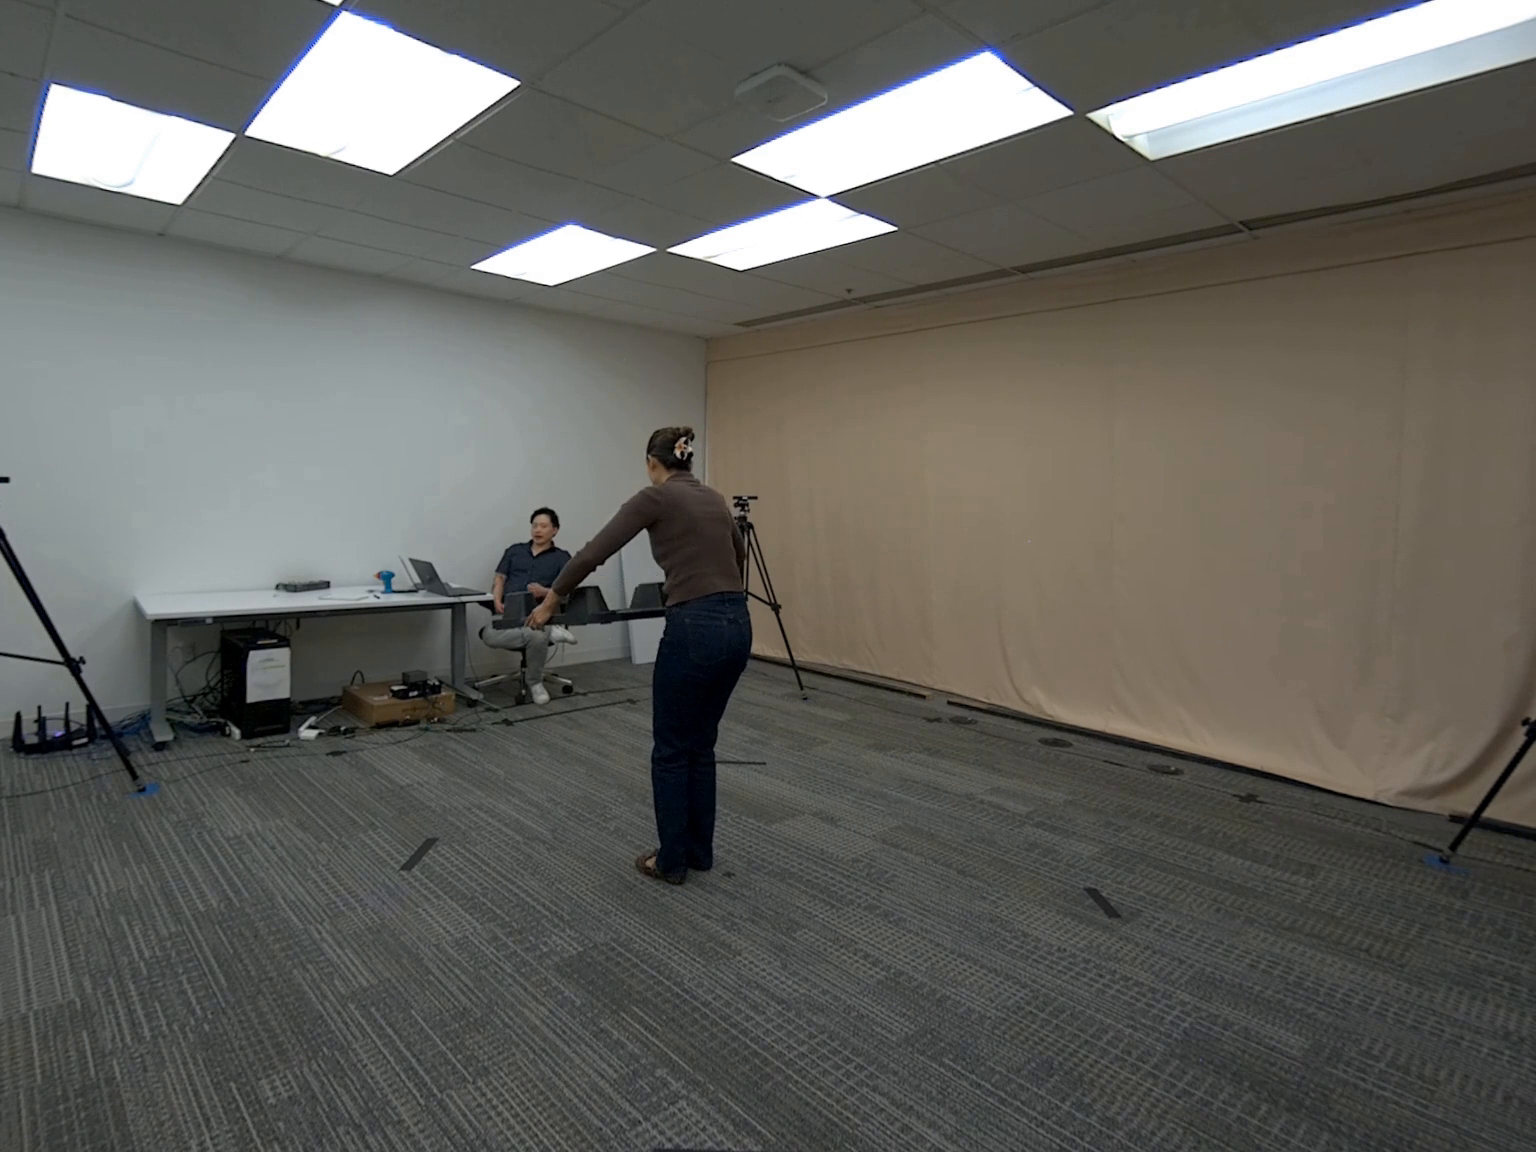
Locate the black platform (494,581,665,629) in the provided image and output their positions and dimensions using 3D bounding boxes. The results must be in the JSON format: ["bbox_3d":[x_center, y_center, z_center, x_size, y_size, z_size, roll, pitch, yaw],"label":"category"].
[{"bbox_3d":[-0.585,0.107,3.328,0.617,0.143,0.787,-6,-2,37],"label":"black platform"}]
